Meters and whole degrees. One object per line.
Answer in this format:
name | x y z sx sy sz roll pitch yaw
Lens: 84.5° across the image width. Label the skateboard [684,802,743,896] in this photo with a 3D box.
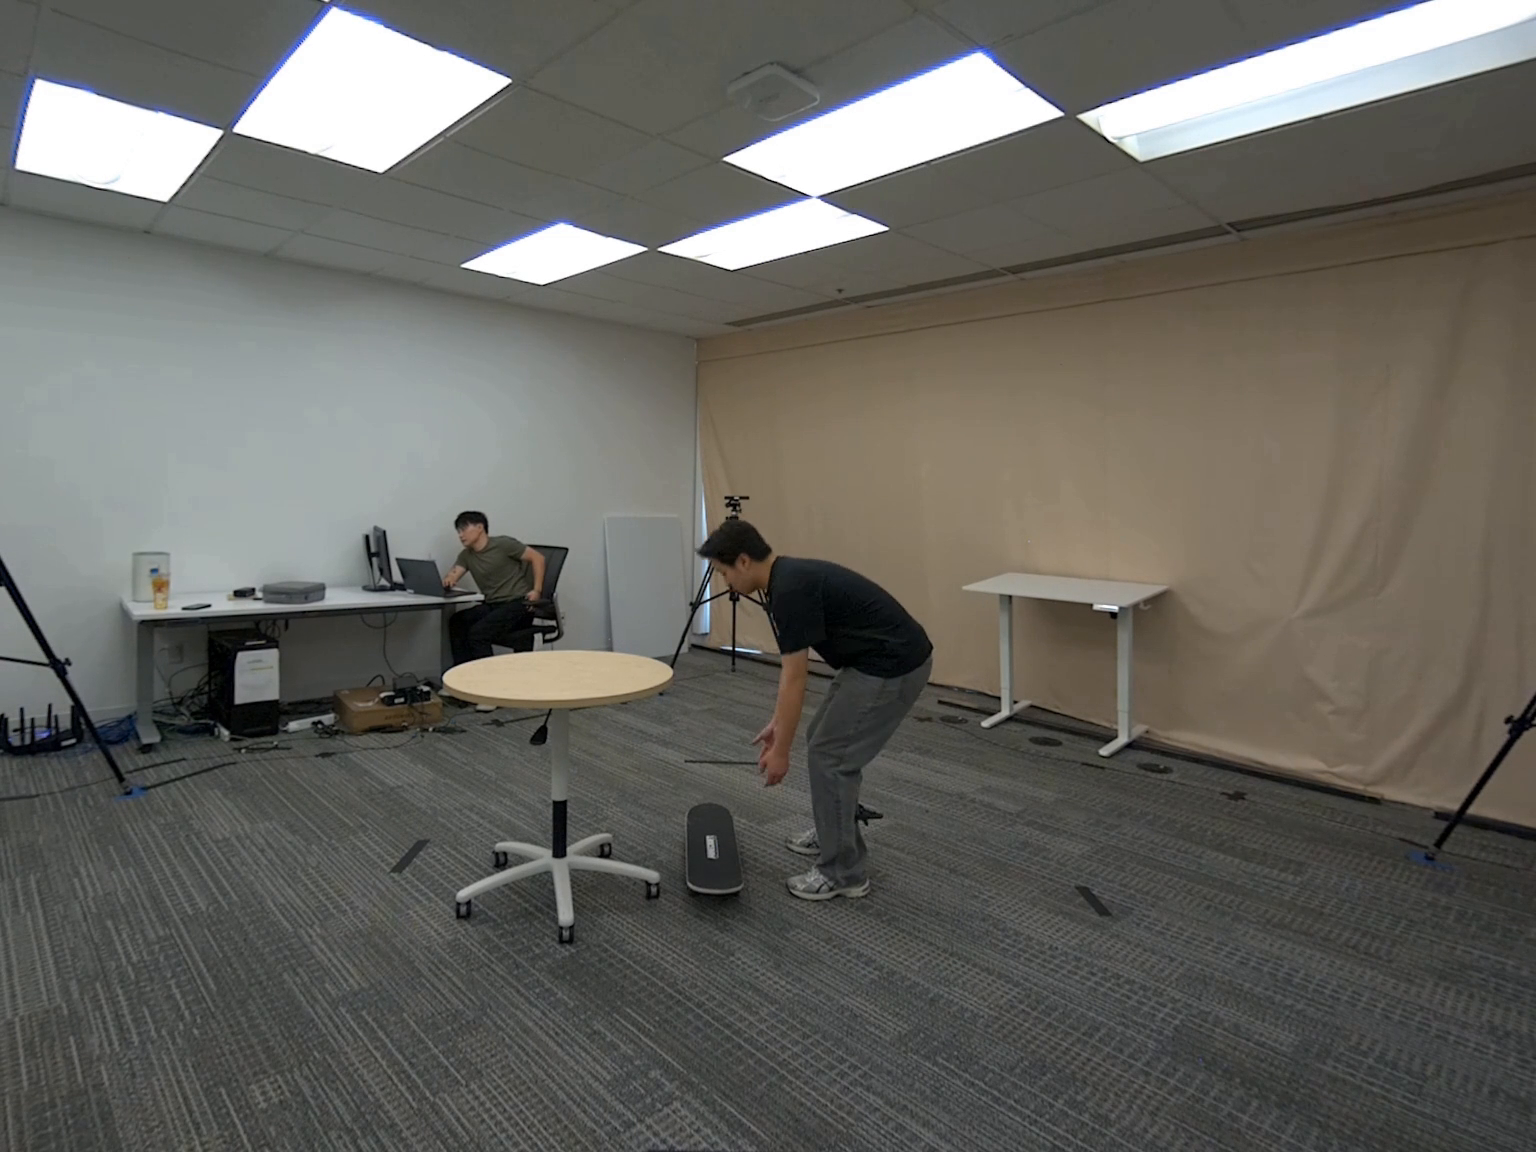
skateboard | -0.213 1.038 3.145 0.192 0.110 0.792 0 5 -7
